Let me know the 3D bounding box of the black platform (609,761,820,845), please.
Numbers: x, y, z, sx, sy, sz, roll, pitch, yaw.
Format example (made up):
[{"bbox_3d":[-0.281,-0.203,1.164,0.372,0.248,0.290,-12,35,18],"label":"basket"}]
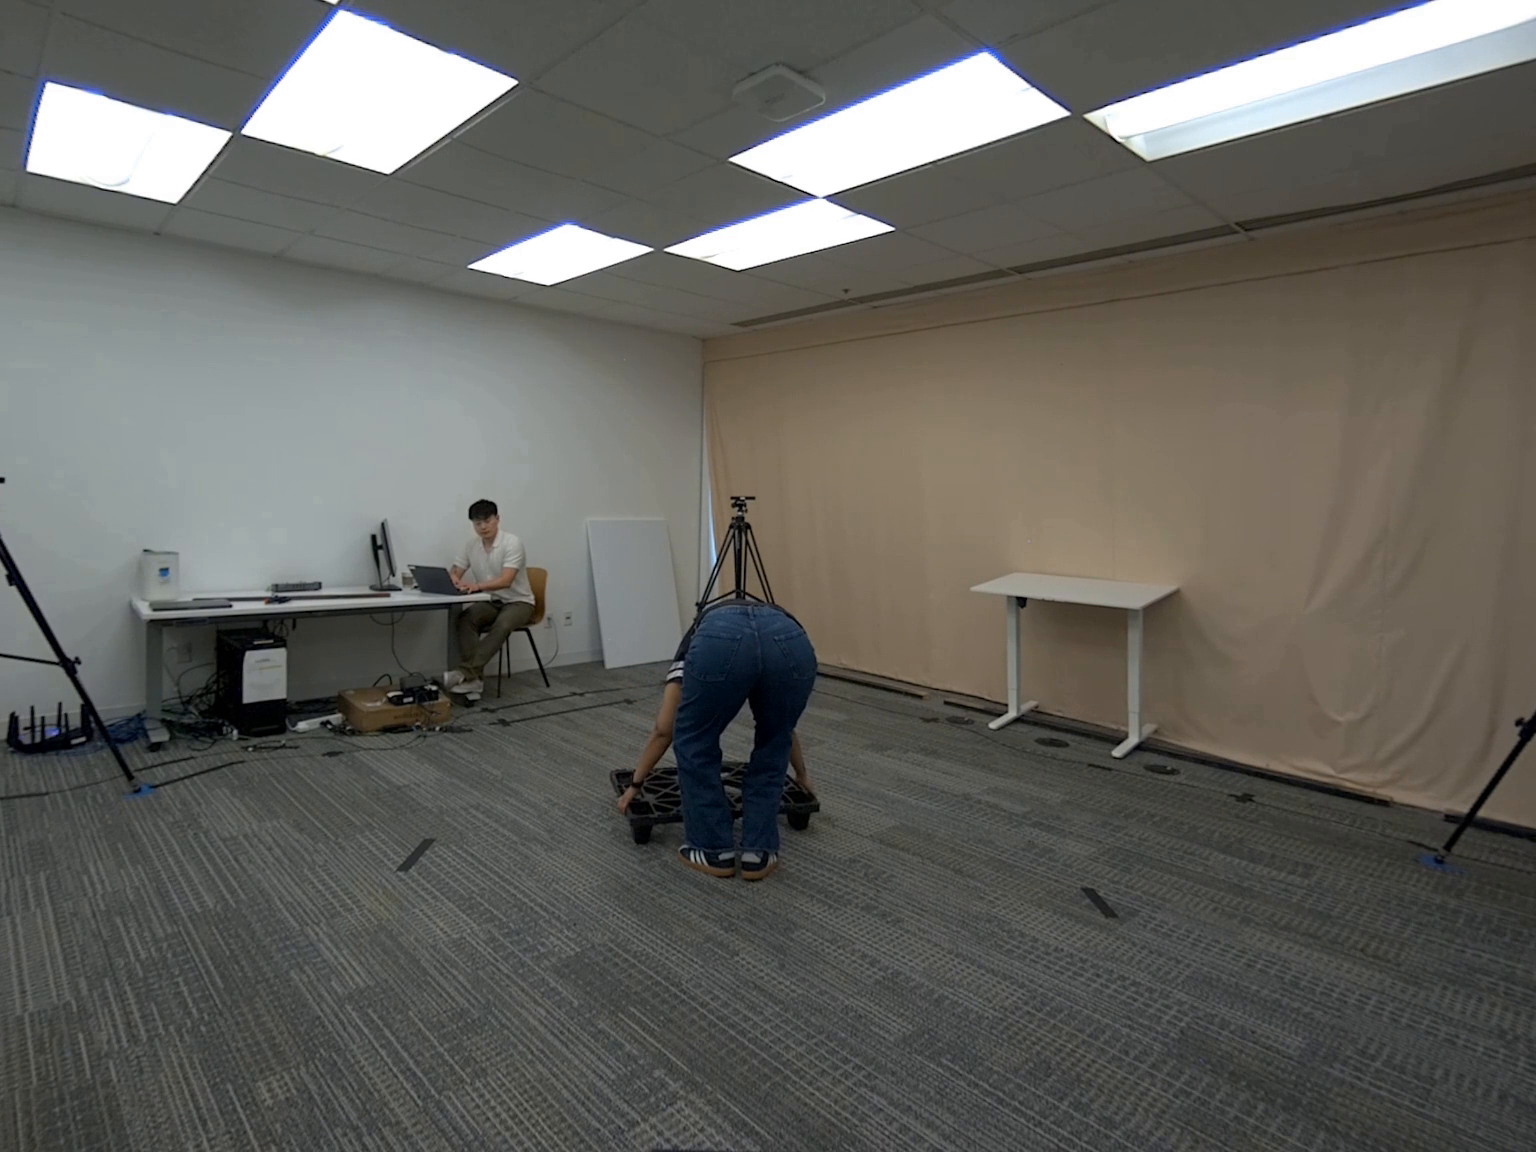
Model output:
[{"bbox_3d":[-0.258,0.981,3.679,0.795,0.143,0.615,0,5,-17],"label":"black platform"}]
